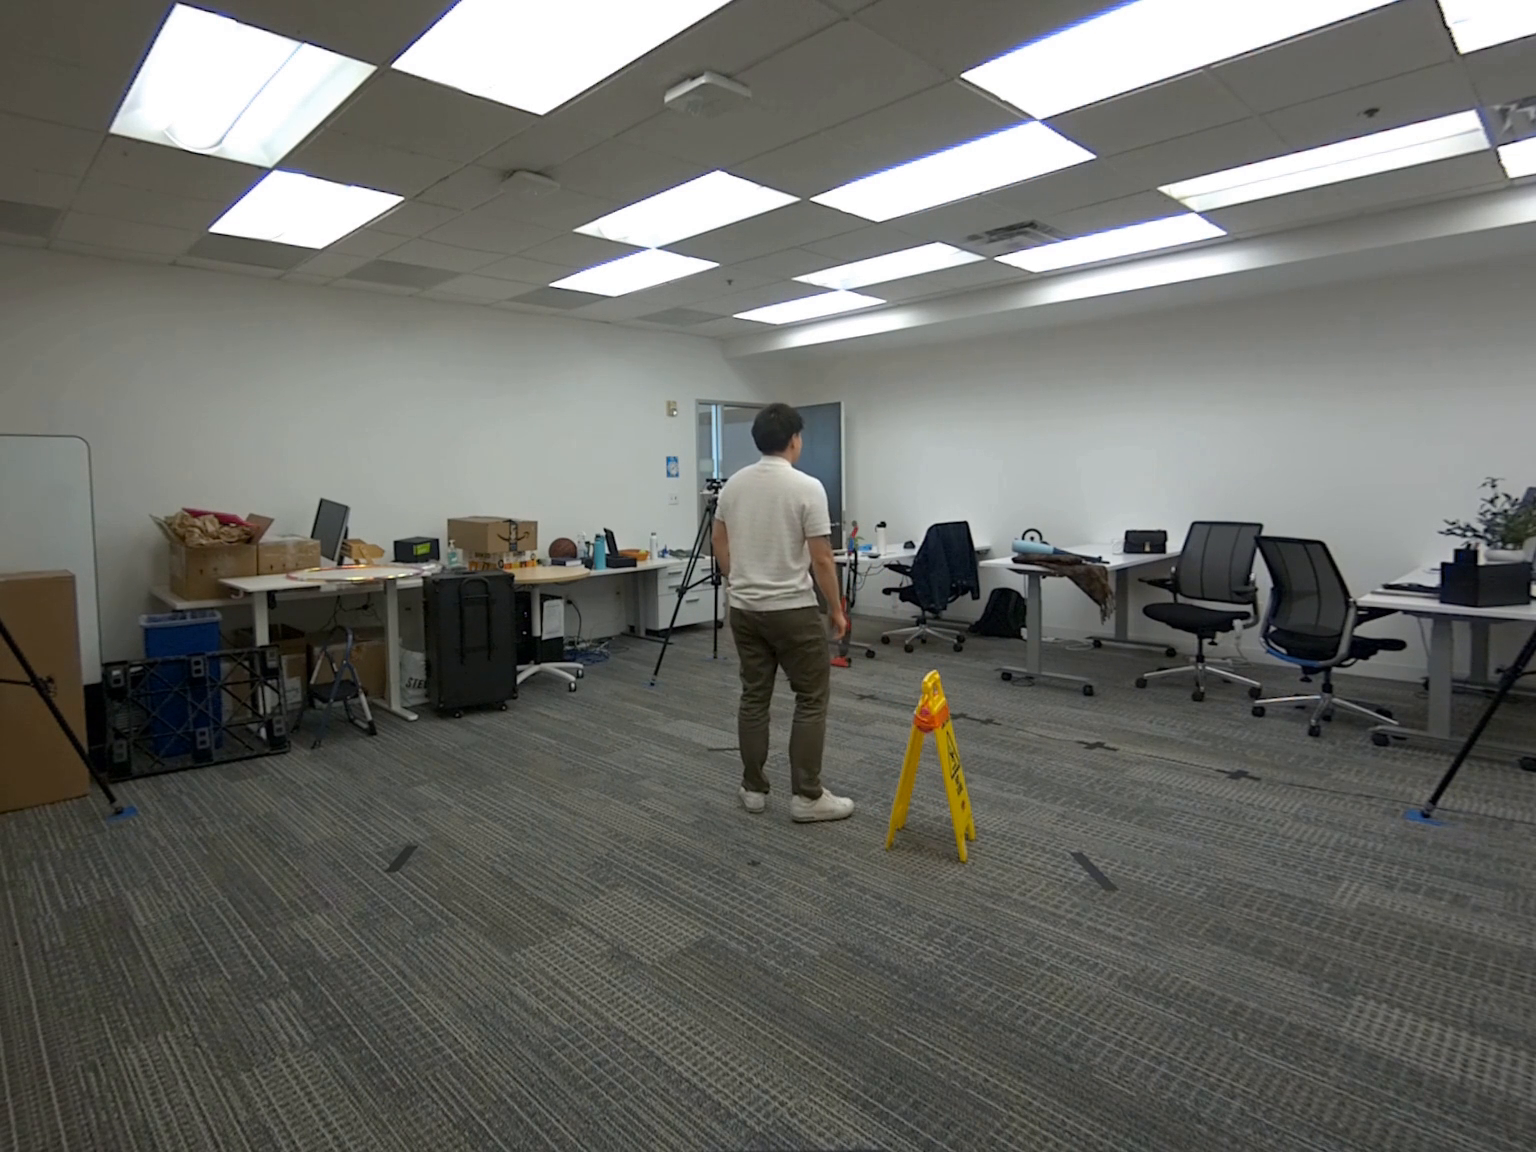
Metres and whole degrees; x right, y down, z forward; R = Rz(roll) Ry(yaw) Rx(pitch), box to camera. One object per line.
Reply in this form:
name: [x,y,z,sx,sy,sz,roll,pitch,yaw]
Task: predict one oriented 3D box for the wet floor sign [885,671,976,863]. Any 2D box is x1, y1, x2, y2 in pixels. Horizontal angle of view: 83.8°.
wet floor sign: [0.619,0.696,3.246,0.296,0.645,0.277,0,3,24]
